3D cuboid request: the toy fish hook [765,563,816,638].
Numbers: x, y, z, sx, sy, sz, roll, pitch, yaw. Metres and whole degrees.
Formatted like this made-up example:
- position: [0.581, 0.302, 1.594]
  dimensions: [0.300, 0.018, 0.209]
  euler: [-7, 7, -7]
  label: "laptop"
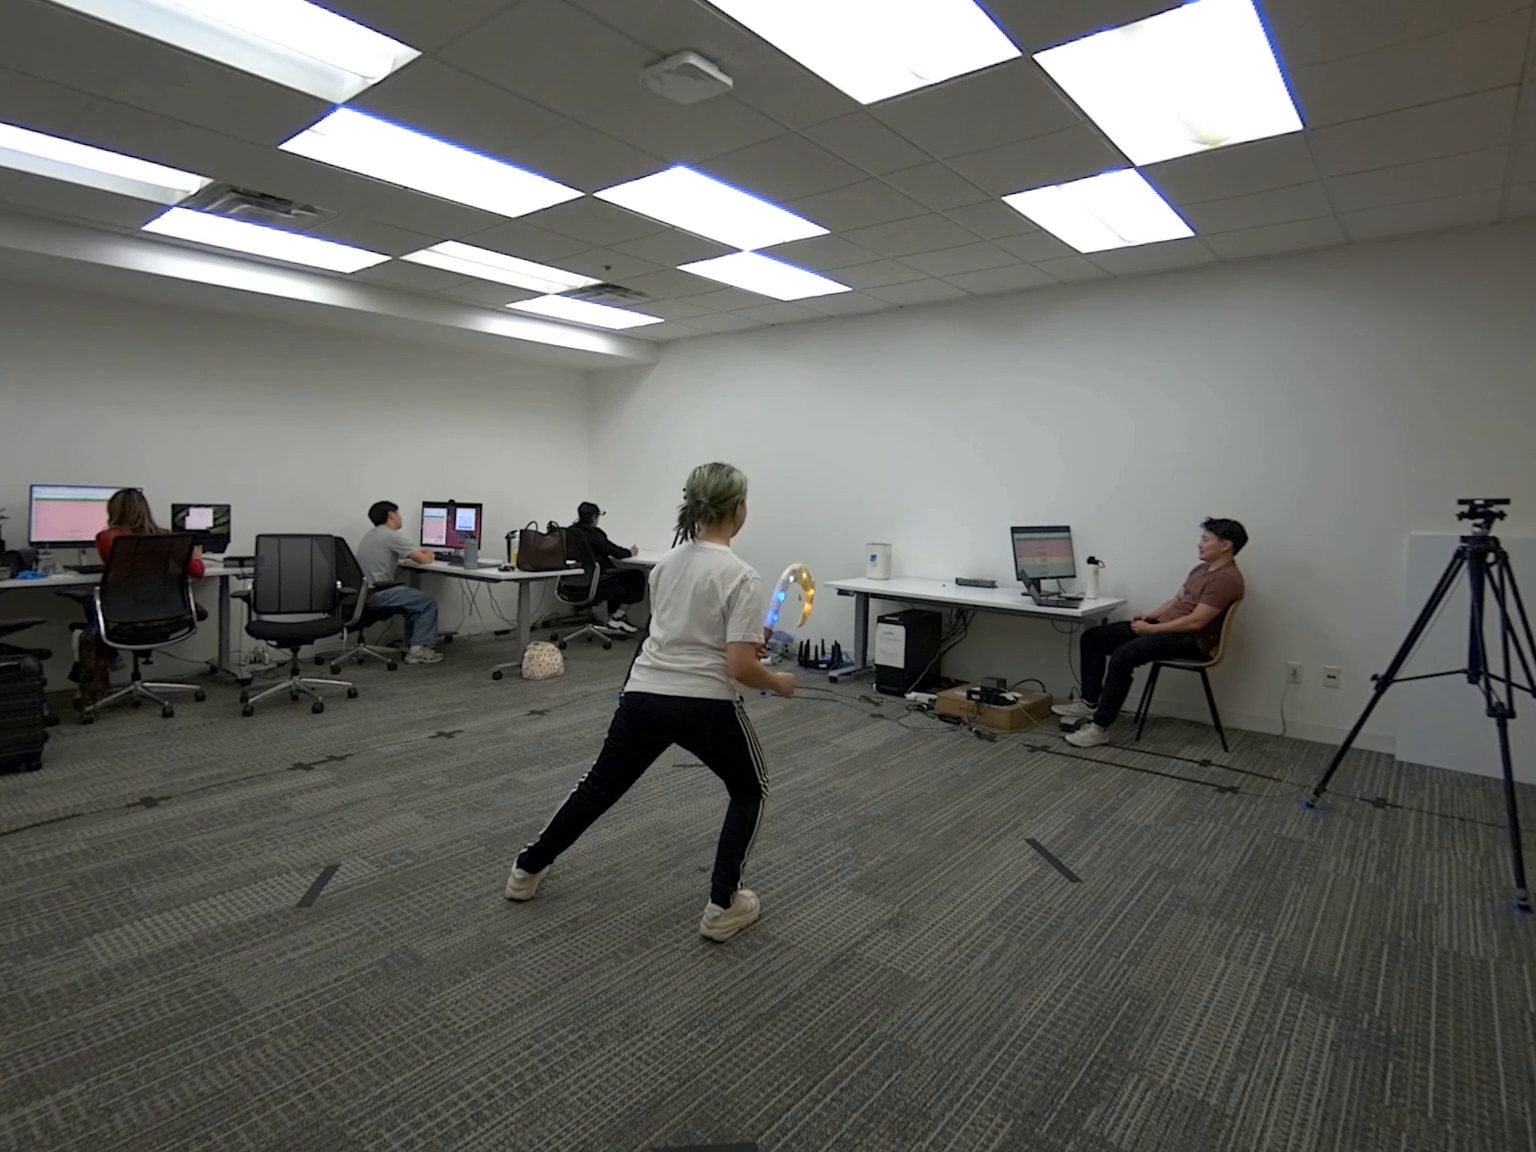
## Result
- position: [0.032, 0.174, 3.133]
  dimensions: [0.050, 0.510, 0.216]
  euler: [-3, -42, 46]
  label: "toy fish hook"
